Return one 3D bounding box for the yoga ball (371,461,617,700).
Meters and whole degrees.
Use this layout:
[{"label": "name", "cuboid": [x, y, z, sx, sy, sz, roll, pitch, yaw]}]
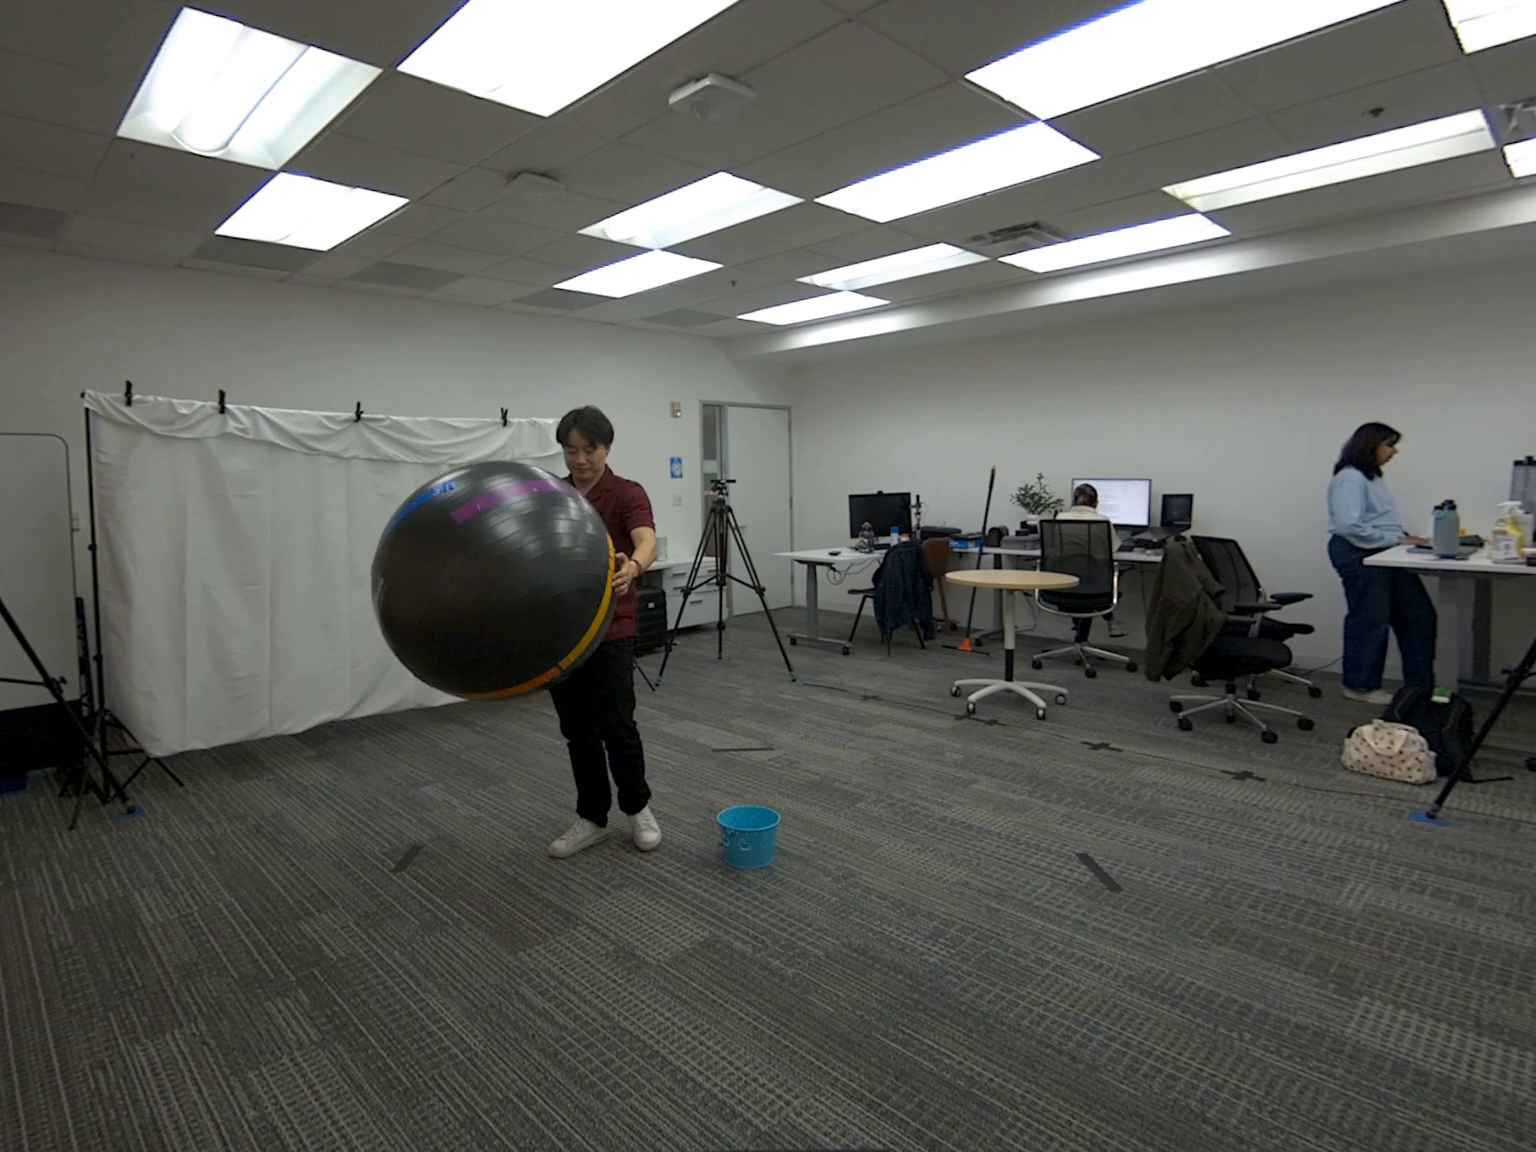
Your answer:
[{"label": "yoga ball", "cuboid": [-0.867, 0.019, 2.723, 0.757, 0.755, 0.762, -1, 5, -2]}]
